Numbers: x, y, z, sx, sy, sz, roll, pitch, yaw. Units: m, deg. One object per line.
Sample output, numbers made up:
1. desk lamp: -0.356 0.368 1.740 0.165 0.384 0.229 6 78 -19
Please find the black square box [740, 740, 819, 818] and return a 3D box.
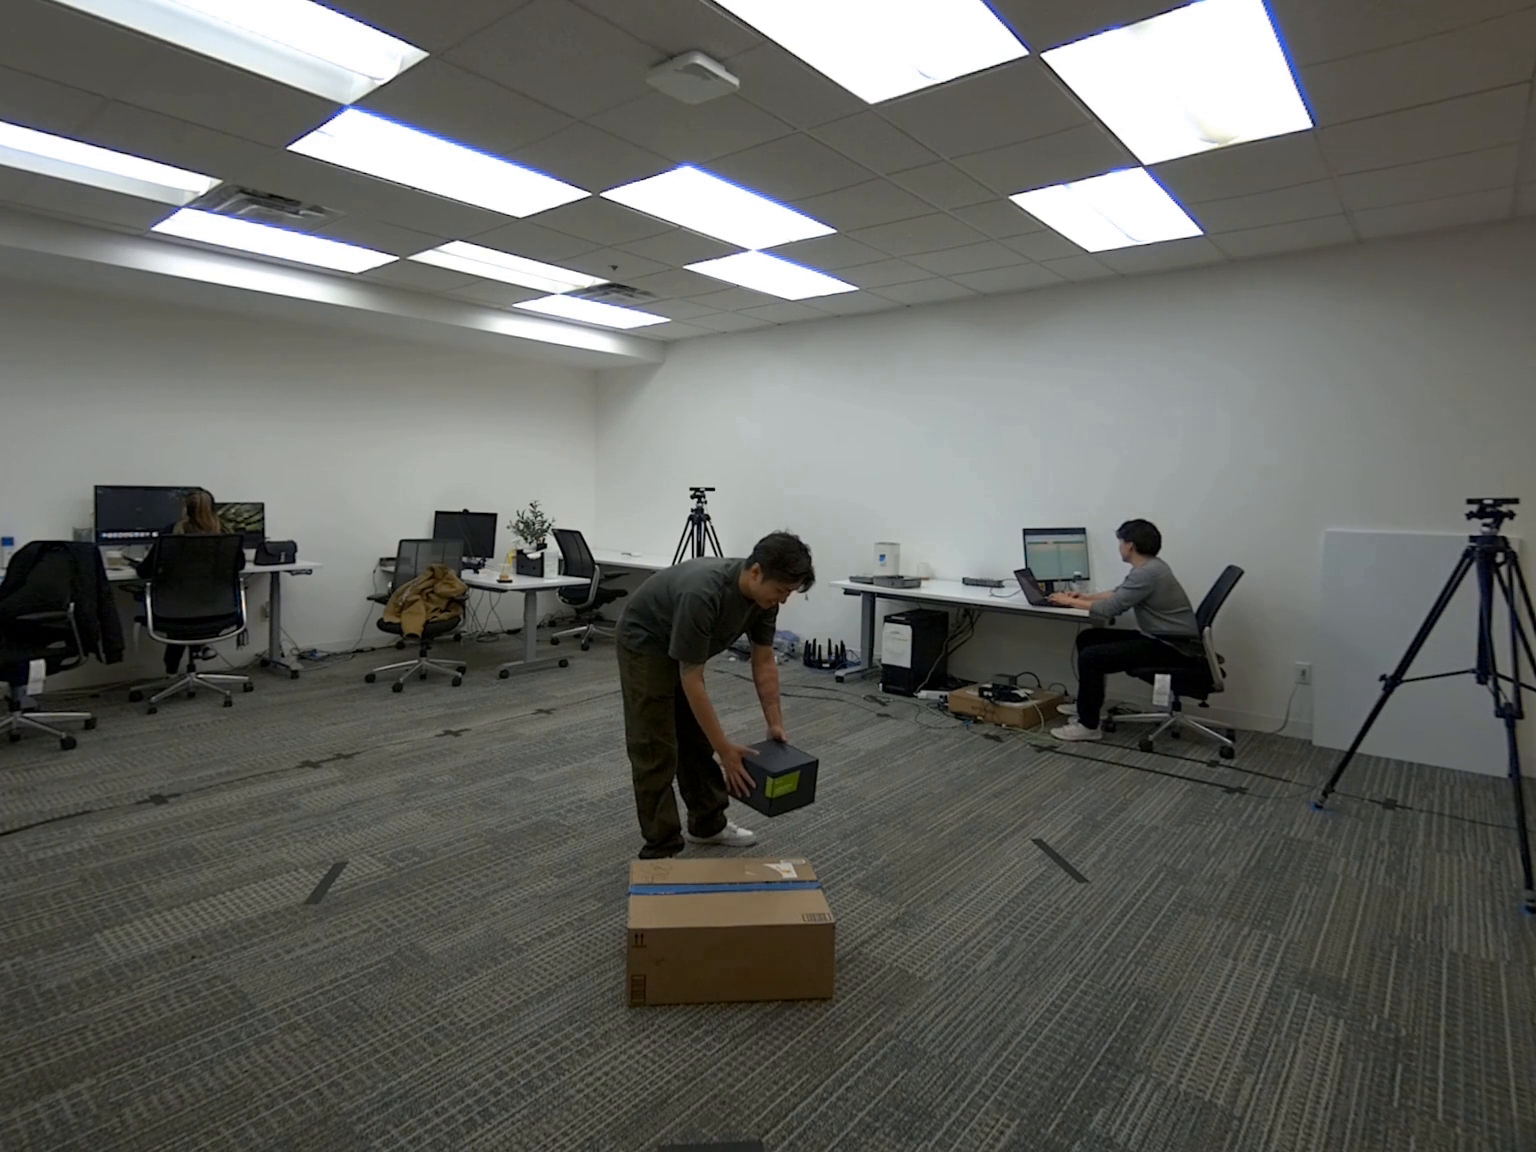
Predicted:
1. black square box: 0.005 0.678 2.878 0.221 0.155 0.225 -3 13 -45
